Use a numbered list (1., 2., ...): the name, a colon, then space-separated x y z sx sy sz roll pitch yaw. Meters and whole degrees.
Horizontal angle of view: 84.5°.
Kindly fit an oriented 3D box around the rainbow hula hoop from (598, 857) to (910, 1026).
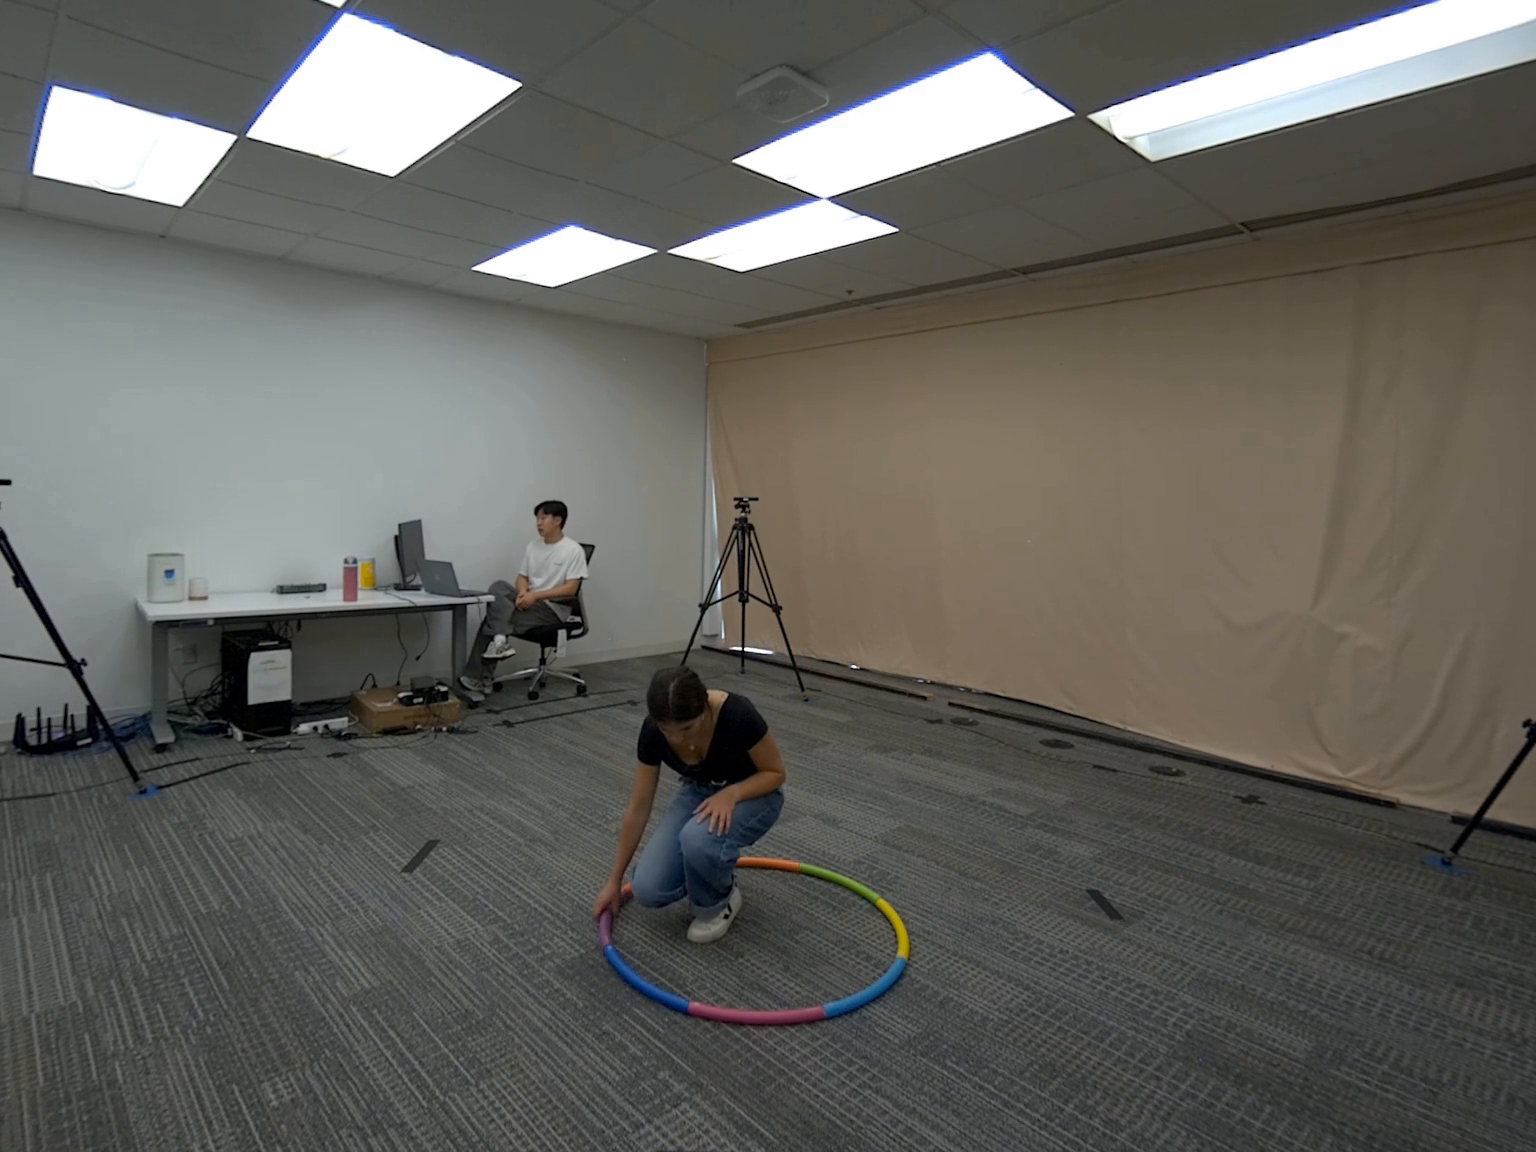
1. rainbow hula hoop: -0.053 1.107 2.709 0.978 0.035 0.982 3 5 -2
